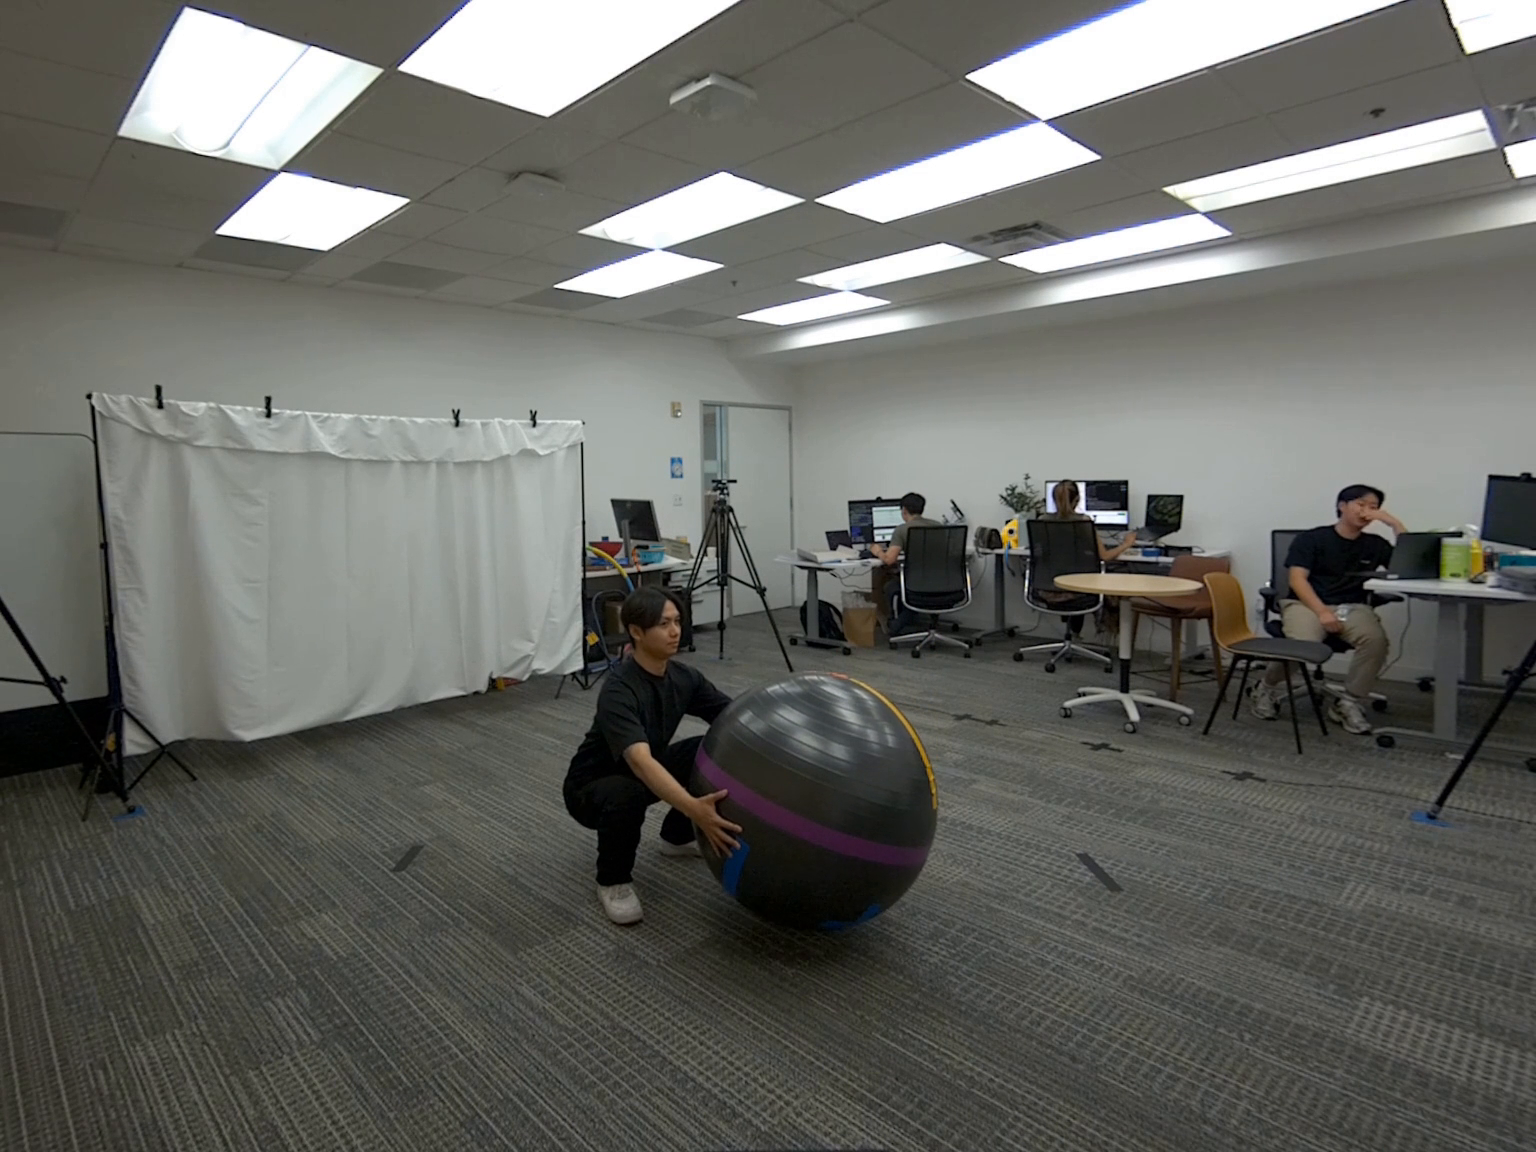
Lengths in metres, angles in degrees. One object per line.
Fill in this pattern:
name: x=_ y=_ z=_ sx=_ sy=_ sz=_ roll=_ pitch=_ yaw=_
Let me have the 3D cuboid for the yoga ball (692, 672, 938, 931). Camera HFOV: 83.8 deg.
yoga ball: x=0.145 y=0.694 z=2.638 sx=0.757 sy=0.755 sz=0.762 roll=-1 pitch=5 yaw=-2
